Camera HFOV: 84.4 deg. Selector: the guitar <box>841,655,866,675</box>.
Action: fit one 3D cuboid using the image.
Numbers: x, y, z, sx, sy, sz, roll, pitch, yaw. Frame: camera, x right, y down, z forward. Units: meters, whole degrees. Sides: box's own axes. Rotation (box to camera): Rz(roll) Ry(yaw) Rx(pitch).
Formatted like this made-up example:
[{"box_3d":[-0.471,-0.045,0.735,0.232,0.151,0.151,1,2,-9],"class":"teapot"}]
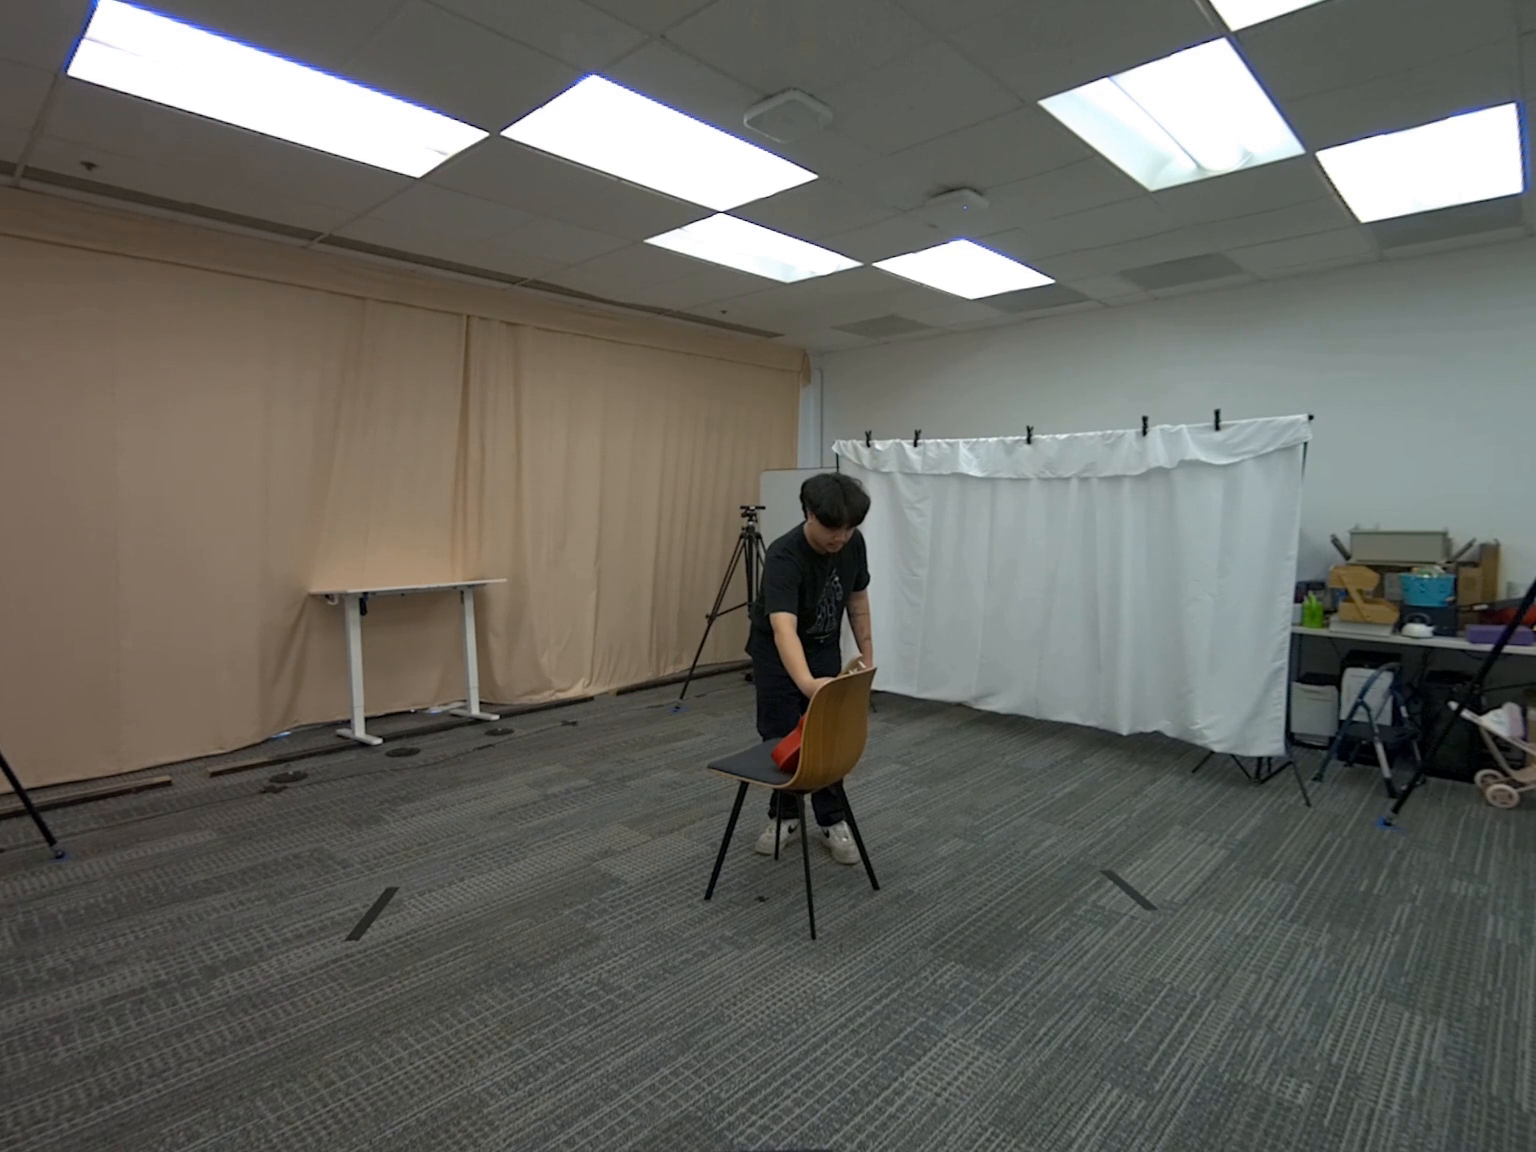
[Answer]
[{"box_3d":[0.166,0.469,2.850,0.187,0.497,0.073,-9,47,-45],"class":"guitar"}]
